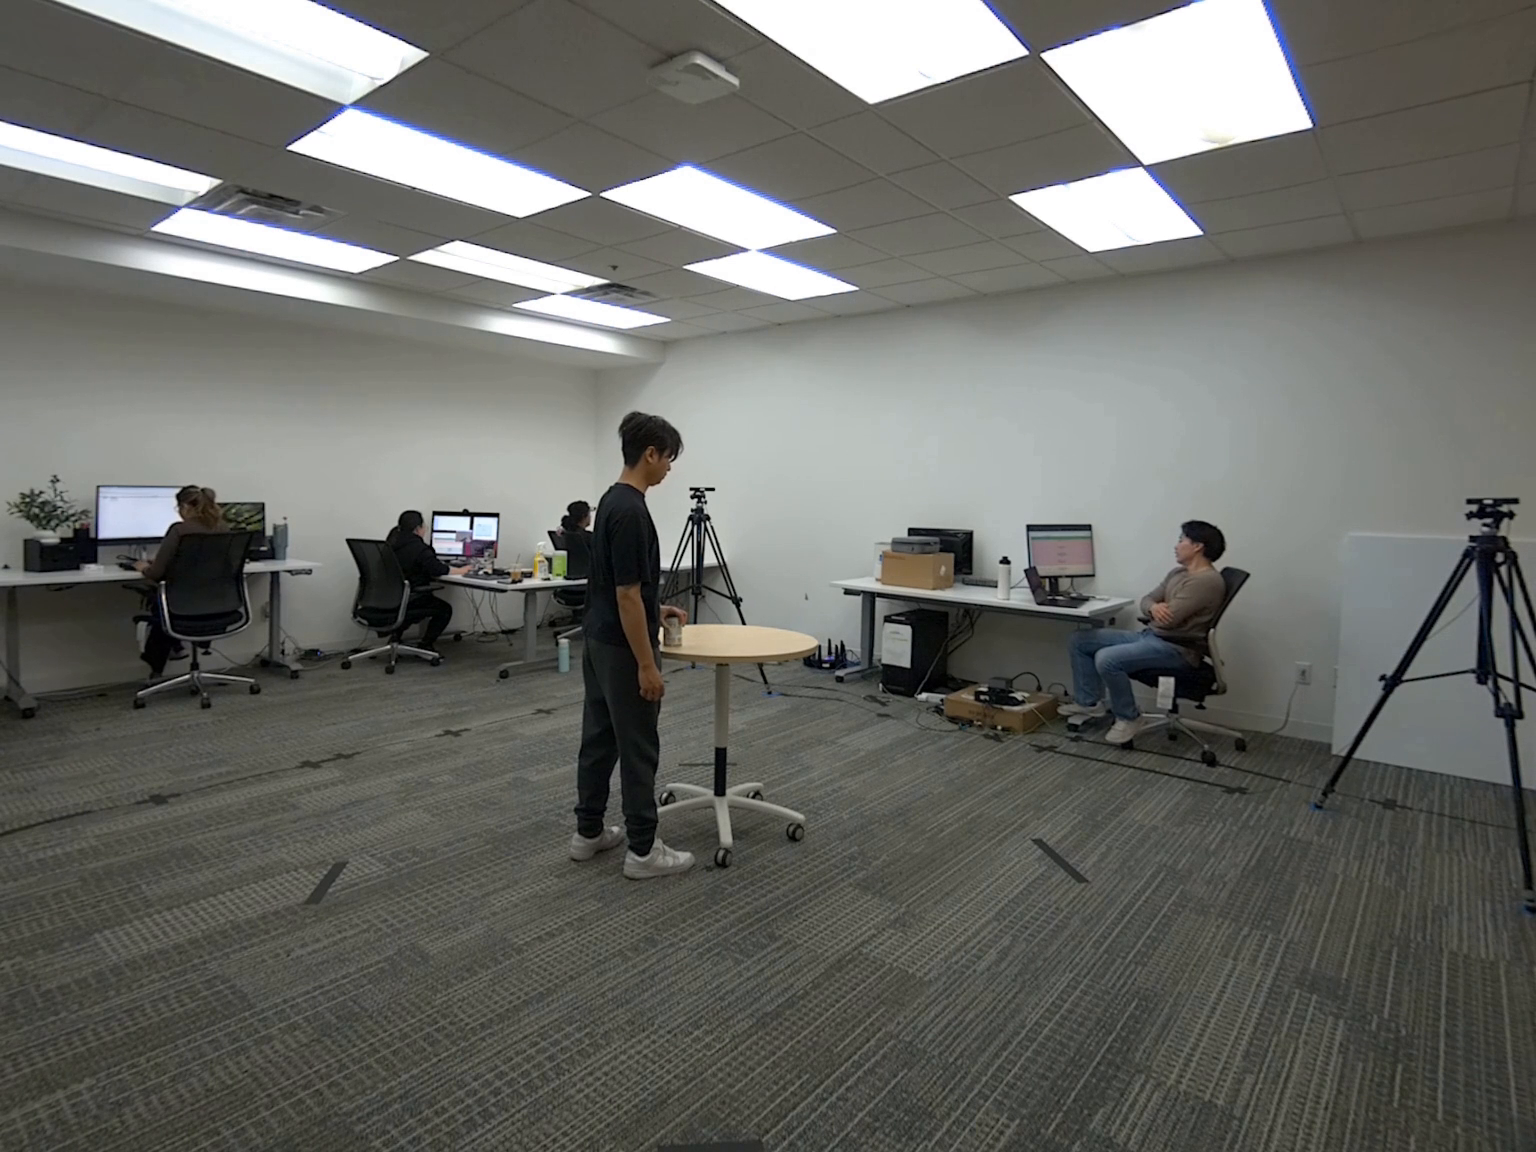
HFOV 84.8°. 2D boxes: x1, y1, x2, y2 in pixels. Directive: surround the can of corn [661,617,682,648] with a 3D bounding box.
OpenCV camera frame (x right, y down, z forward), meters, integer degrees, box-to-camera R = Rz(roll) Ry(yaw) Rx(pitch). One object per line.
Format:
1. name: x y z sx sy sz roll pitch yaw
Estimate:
1. can of corn: -0.374 0.213 3.266 0.074 0.111 0.074 -2 2 -2
